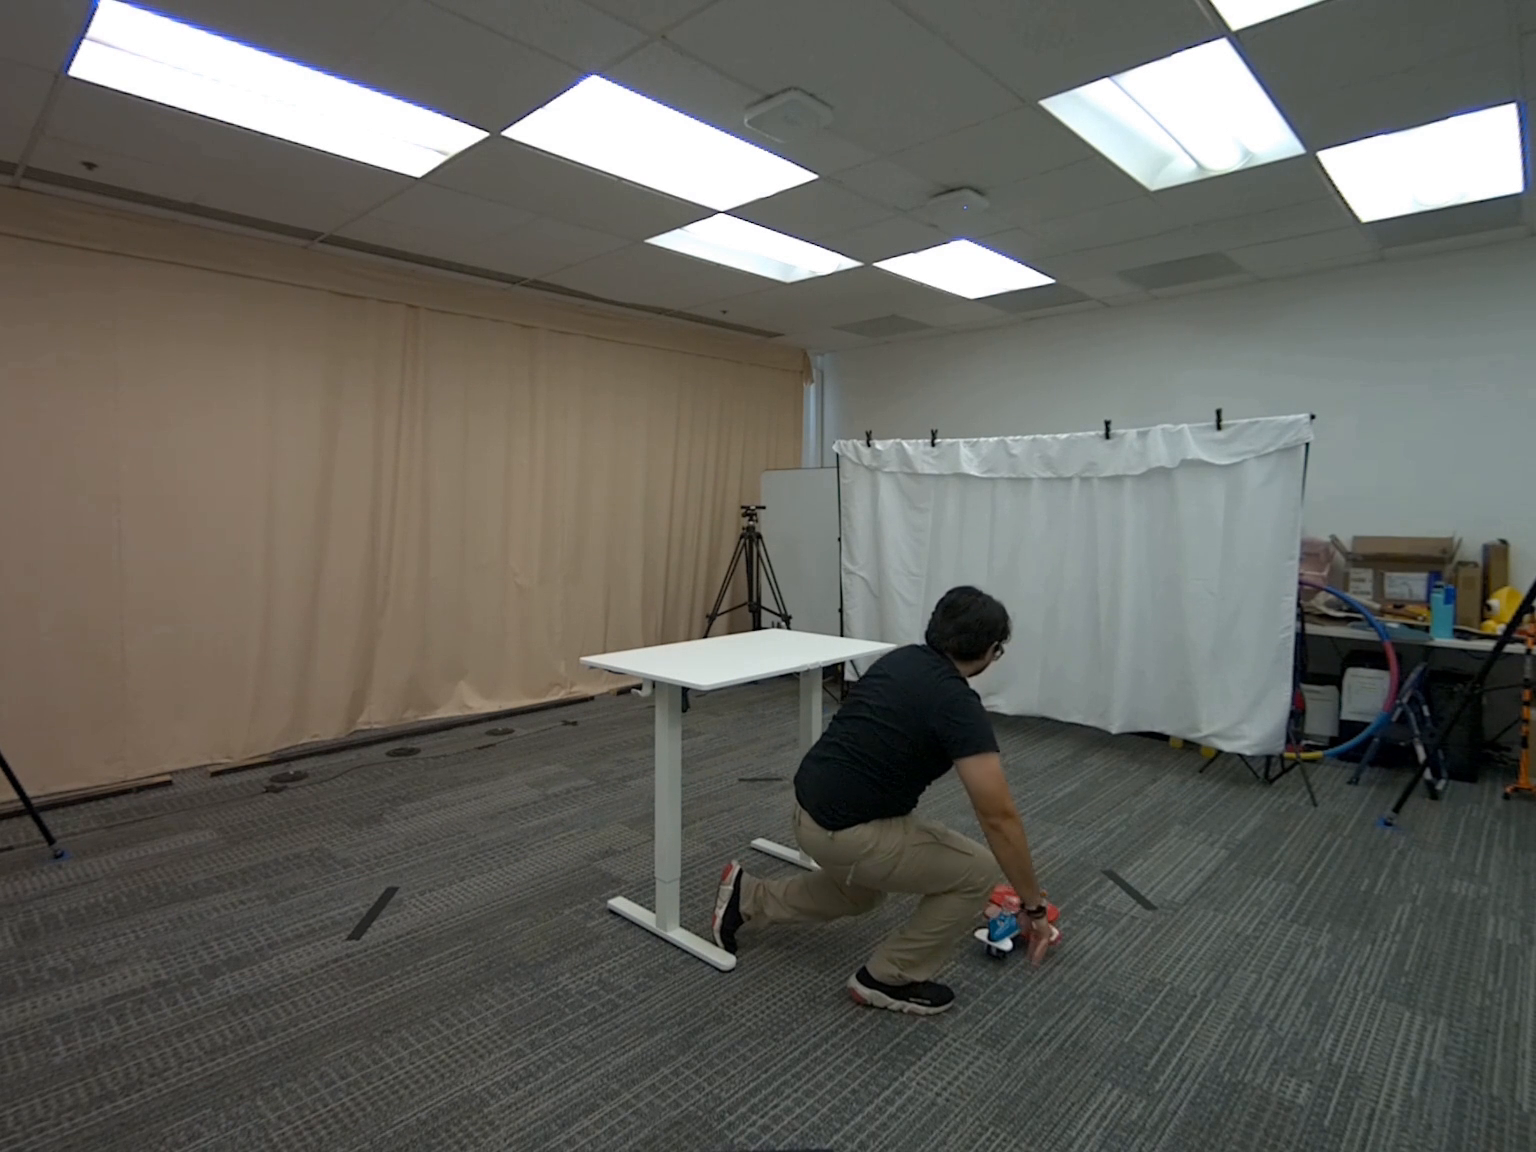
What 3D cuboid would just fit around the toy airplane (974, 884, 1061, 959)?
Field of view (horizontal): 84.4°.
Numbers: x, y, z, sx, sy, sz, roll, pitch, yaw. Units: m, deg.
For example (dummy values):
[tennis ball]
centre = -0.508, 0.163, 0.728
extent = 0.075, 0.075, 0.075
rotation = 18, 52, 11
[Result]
[toy airplane]
centre = 0.793, 1.099, 2.630
extent = 0.257, 0.156, 0.254
rotation = 1, 3, 21
